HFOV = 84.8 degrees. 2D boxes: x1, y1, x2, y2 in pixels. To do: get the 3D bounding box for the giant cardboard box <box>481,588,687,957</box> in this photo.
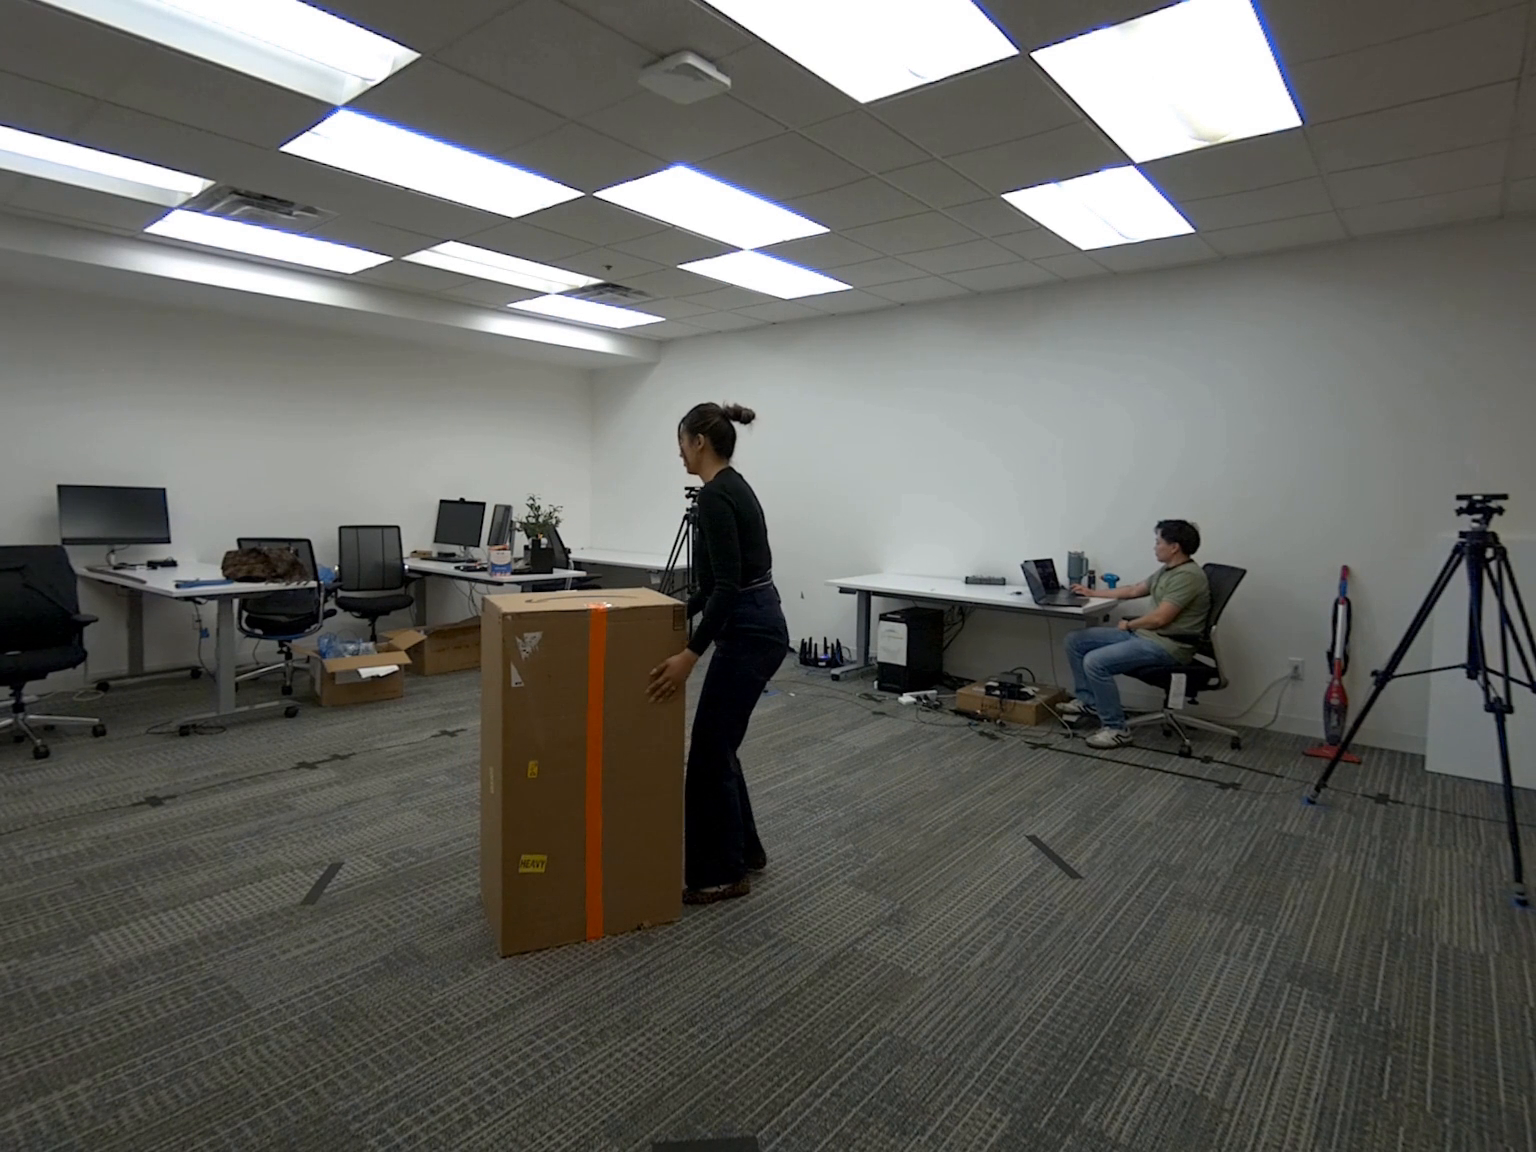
[{"bbox_3d":[-0.626,0.584,2.769,0.564,1.023,0.437,-1,3,-25],"label":"giant cardboard box"}]
